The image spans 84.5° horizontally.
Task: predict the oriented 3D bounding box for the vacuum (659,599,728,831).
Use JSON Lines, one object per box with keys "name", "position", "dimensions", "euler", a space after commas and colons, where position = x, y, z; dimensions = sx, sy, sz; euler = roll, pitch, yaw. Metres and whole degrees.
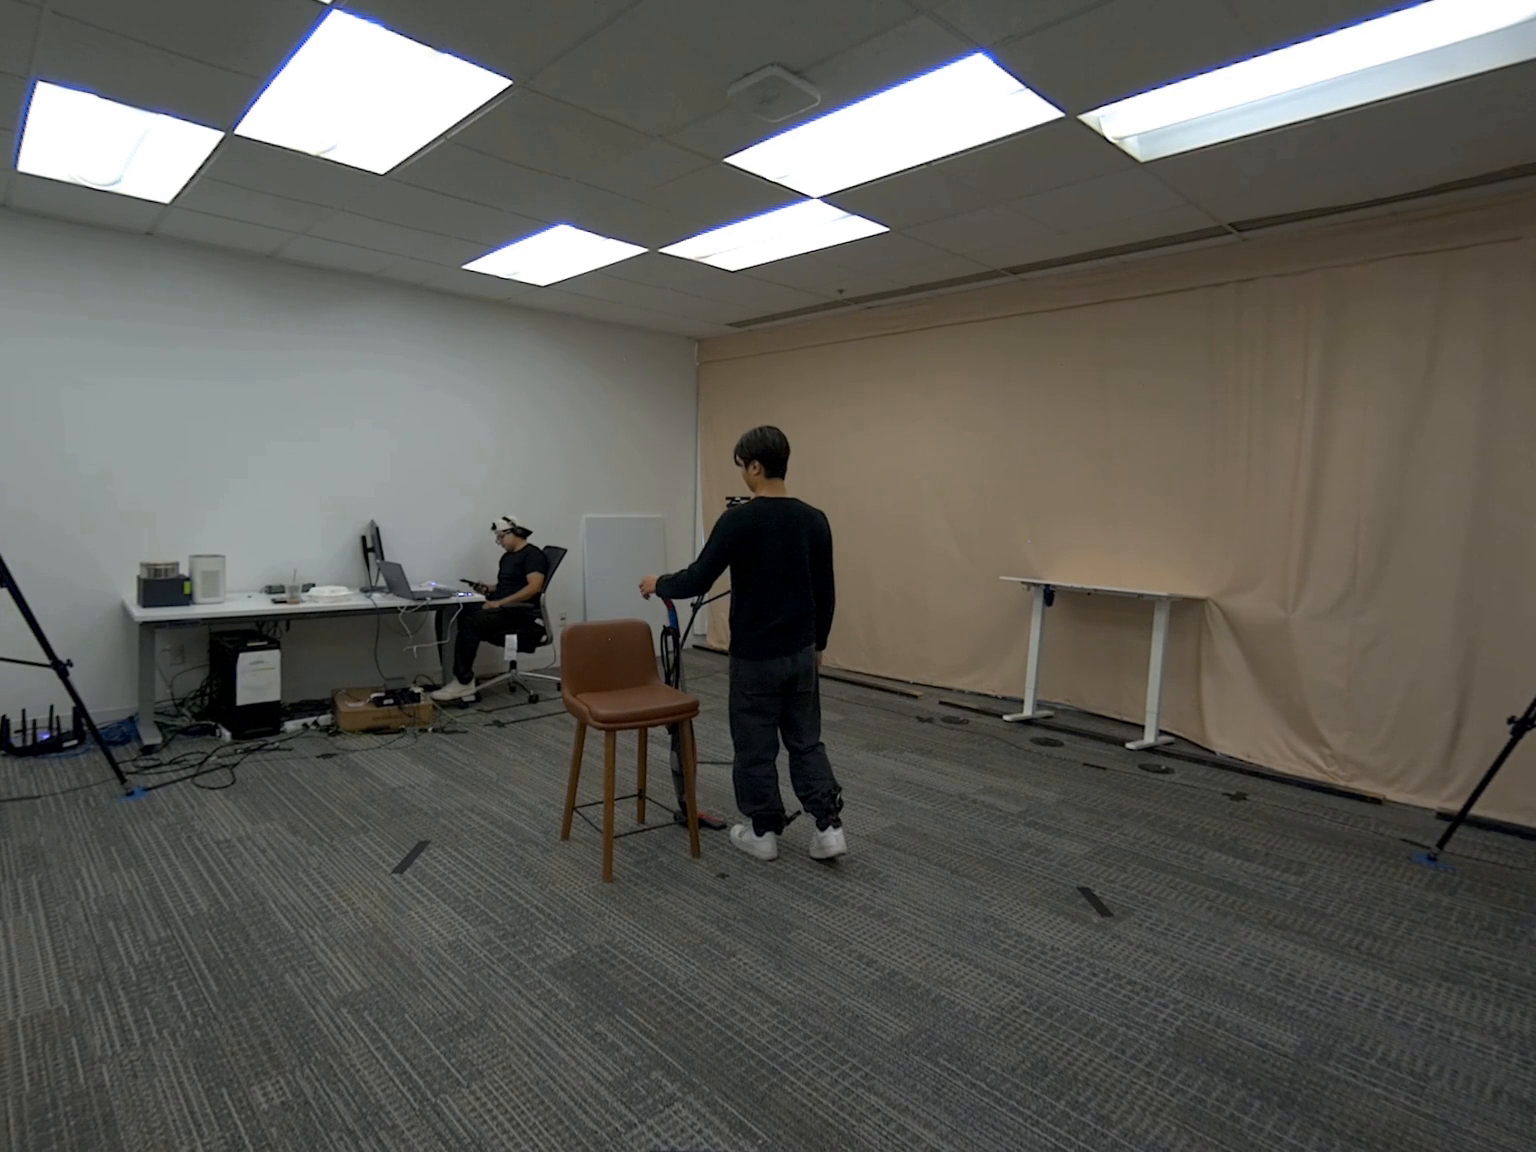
{"name": "vacuum", "position": [-0.393, 0.554, 3.511], "dimensions": [0.142, 1.038, 0.259], "euler": [-18, 16, -41]}
